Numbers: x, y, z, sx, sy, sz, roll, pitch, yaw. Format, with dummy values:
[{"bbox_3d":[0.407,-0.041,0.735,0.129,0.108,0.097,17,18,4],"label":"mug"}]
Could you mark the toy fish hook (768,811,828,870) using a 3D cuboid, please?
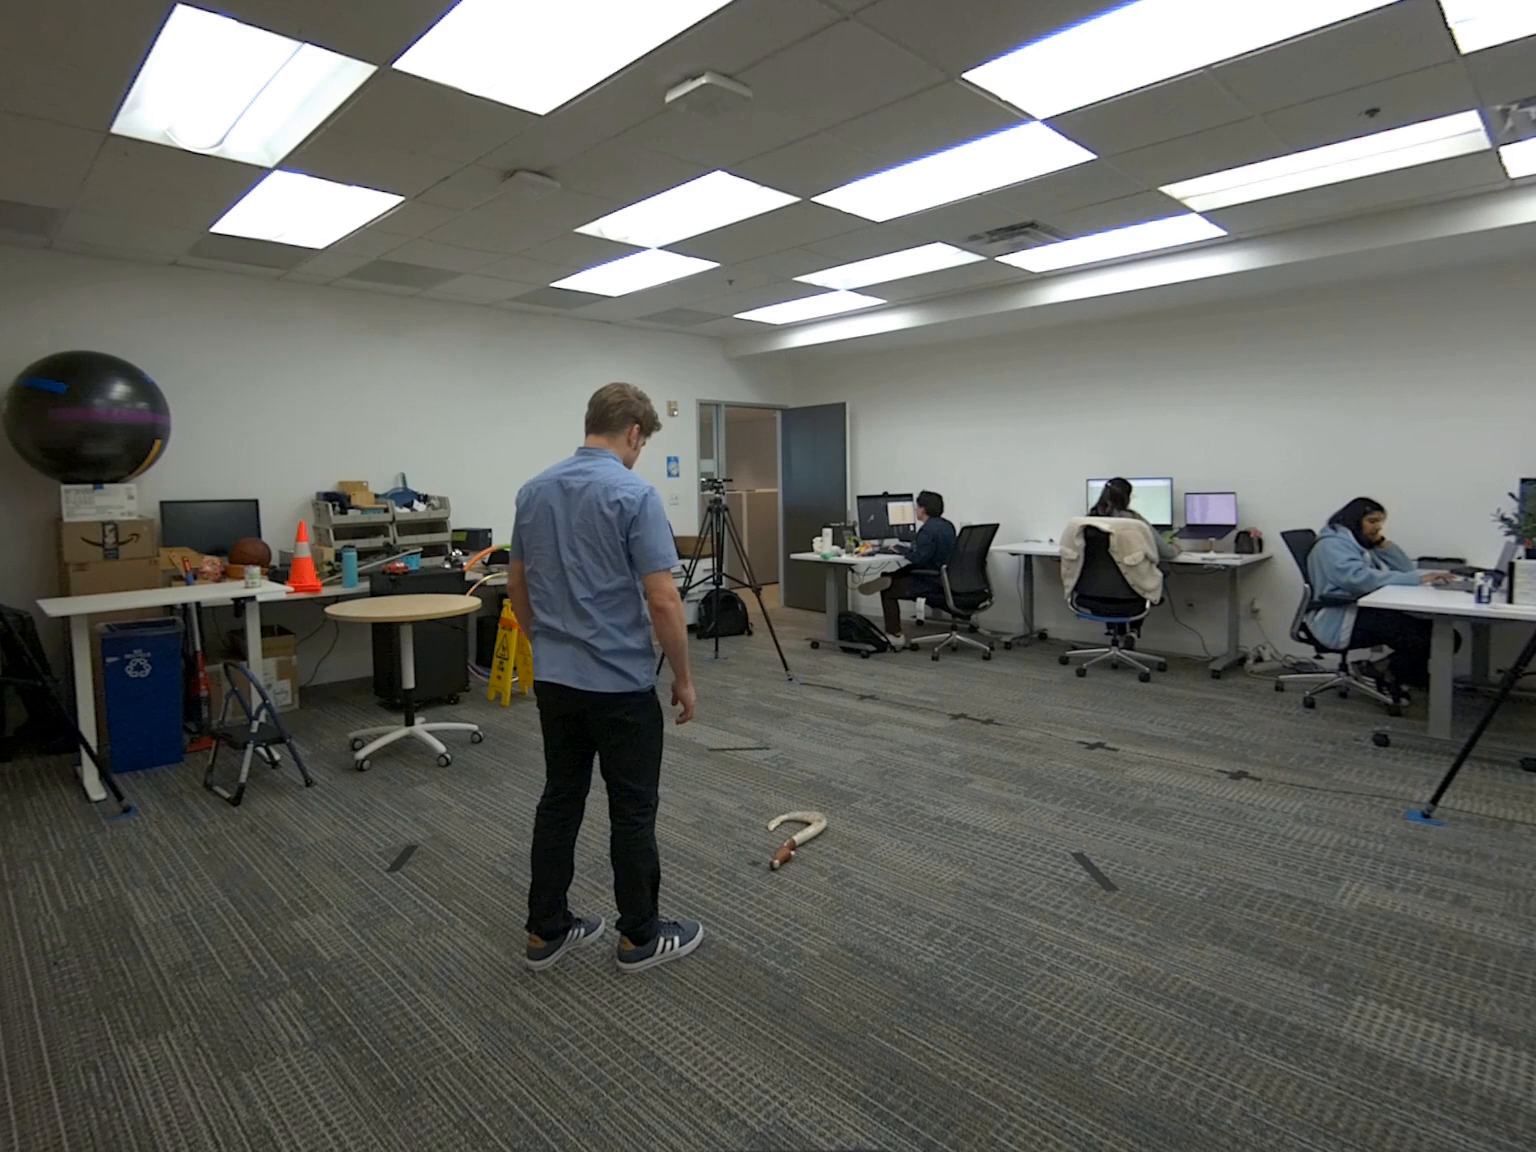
[{"bbox_3d":[0.068,1.008,3.286,0.229,0.048,0.497,-7,3,24],"label":"toy fish hook"}]
